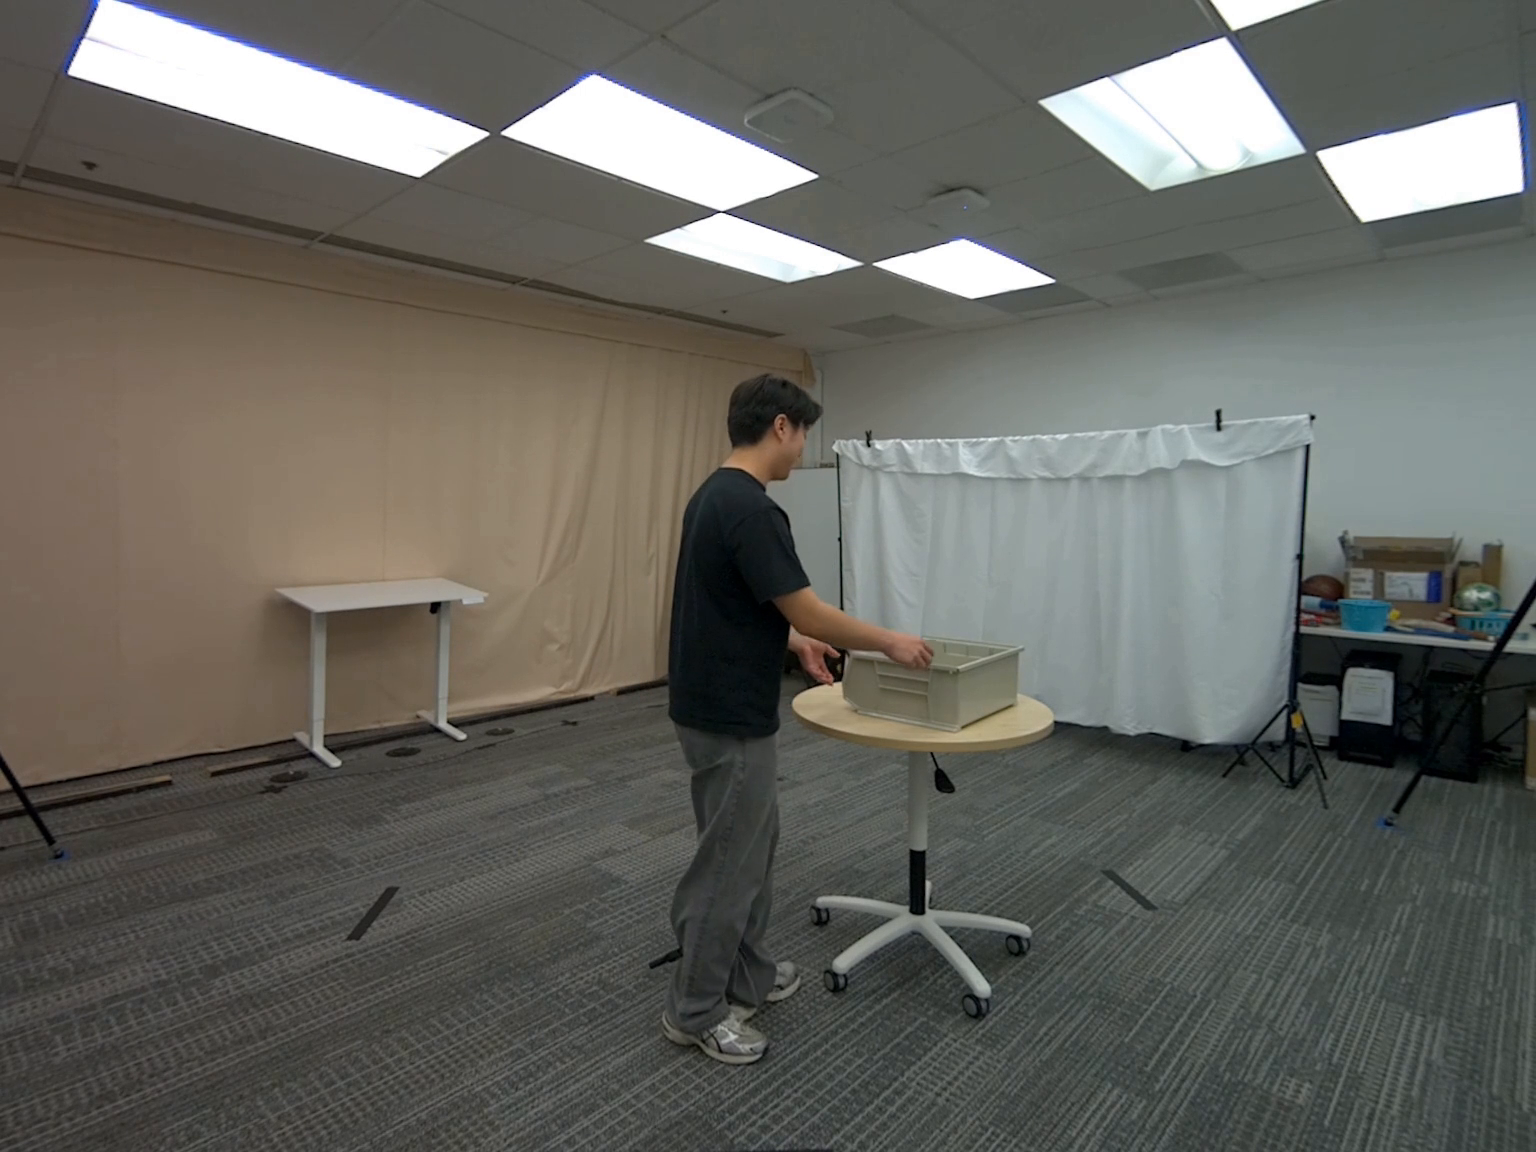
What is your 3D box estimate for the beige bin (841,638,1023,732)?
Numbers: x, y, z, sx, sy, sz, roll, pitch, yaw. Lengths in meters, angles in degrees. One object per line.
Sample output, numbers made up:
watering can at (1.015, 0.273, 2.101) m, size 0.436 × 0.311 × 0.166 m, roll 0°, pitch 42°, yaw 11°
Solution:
beige bin at (0.499, 0.309, 2.521) m, size 0.390 × 0.188 × 0.409 m, roll 5°, pitch 7°, yaw 40°
